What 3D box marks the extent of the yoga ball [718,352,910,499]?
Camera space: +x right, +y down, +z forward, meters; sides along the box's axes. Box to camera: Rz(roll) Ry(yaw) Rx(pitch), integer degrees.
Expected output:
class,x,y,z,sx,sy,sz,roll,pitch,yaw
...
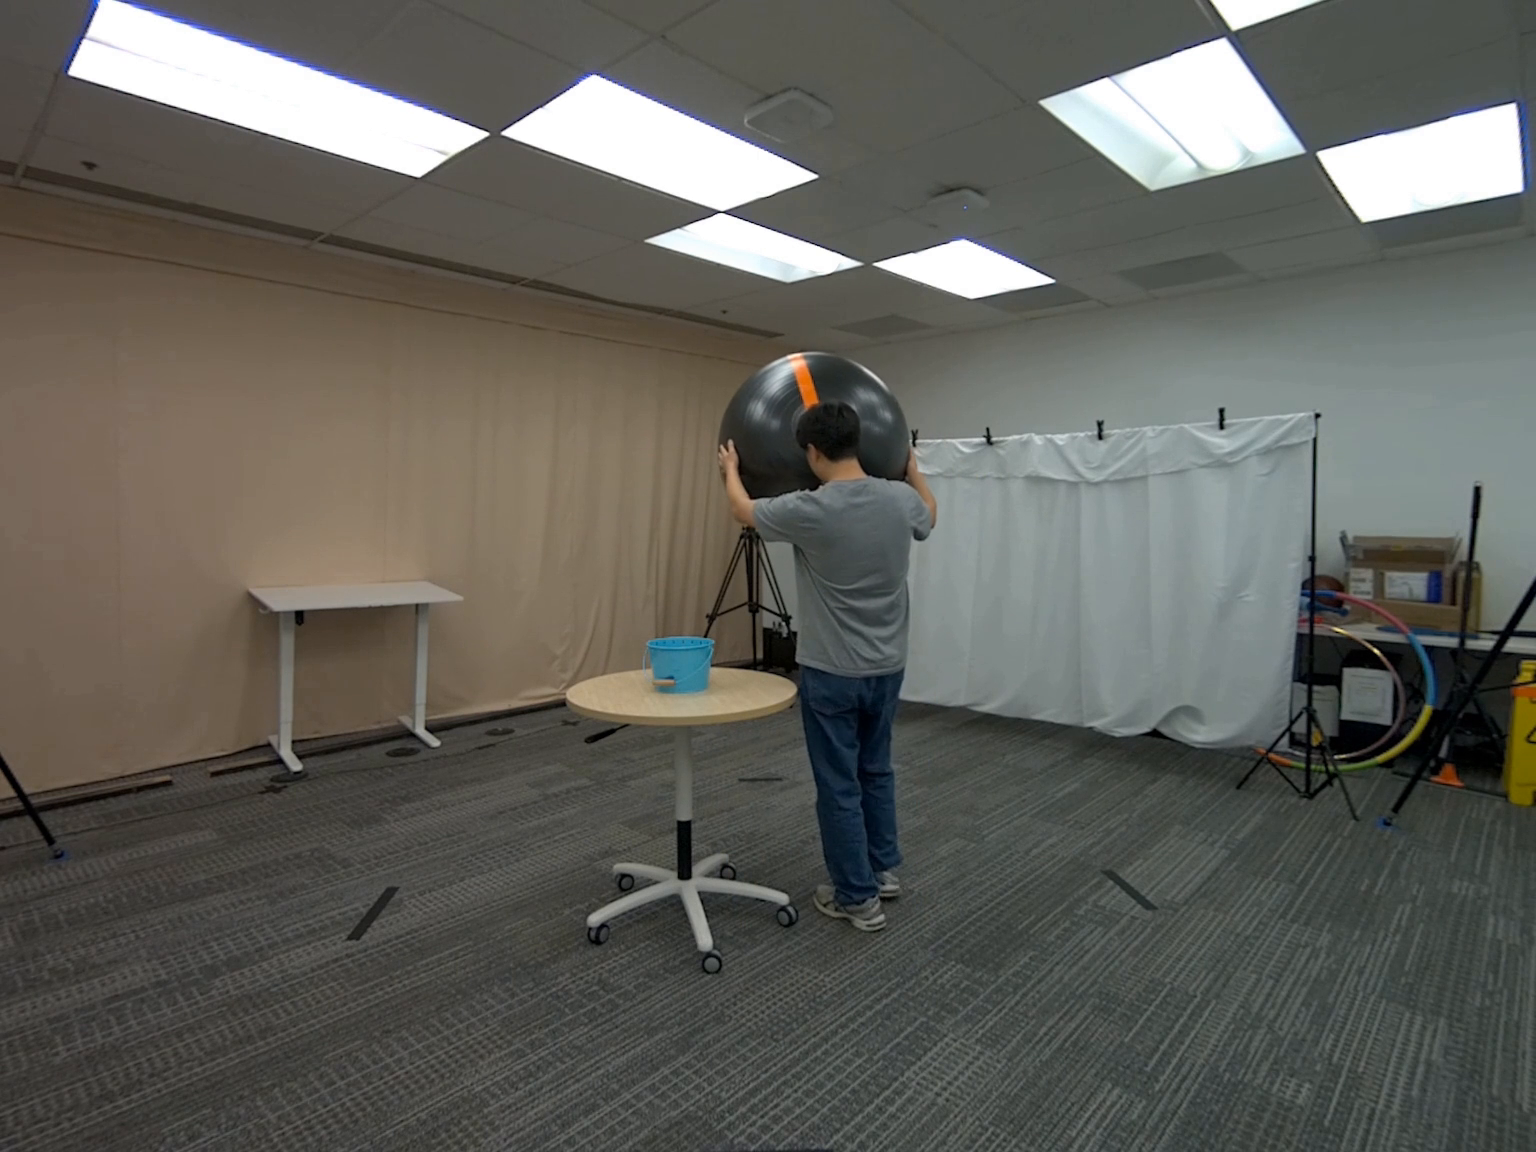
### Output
class,x,y,z,sx,sy,sz,roll,pitch,yaw
yoga ball,0.174,-0.494,3.354,0.757,0.756,0.760,0,4,-2
